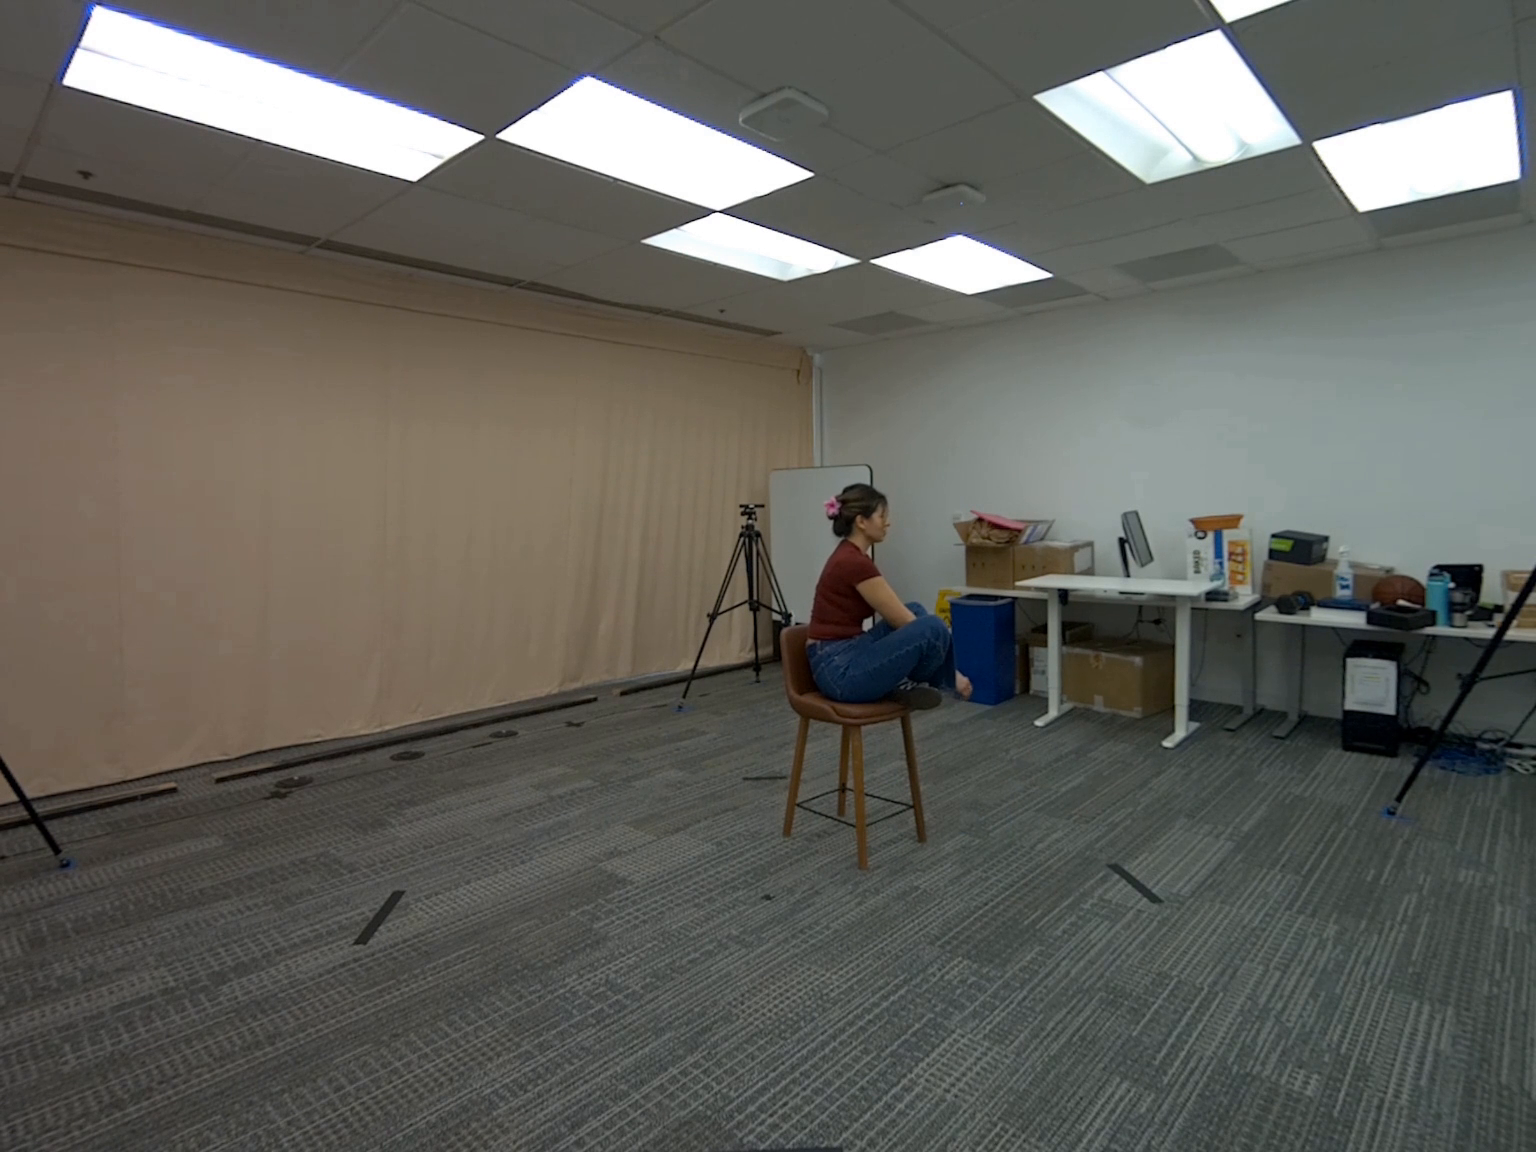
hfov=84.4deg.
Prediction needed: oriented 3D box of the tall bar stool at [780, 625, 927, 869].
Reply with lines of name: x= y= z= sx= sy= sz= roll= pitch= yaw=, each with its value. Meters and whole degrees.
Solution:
tall bar stool: x=0.345 y=0.657 z=3.481 sx=0.442 sy=0.889 sz=0.483 roll=-3 pitch=2 yaw=-43
